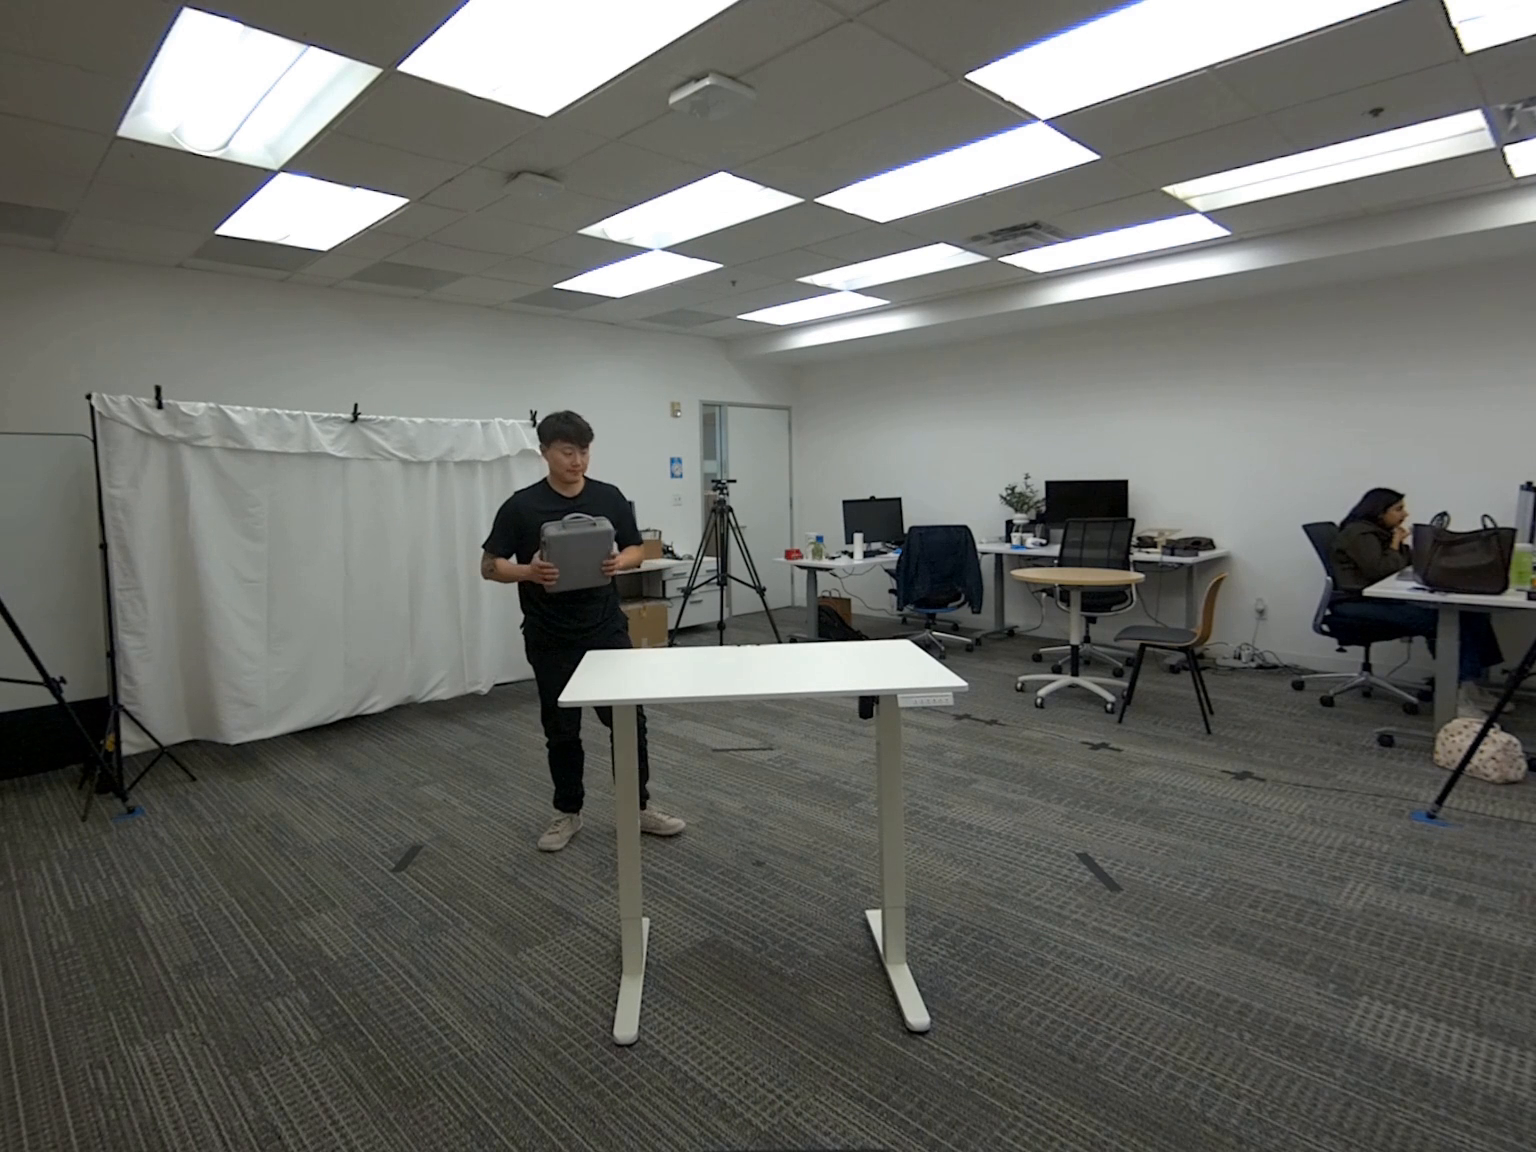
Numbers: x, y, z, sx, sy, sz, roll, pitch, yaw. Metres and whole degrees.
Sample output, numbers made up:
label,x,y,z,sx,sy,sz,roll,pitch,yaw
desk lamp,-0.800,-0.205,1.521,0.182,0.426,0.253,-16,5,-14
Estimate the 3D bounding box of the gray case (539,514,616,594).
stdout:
label,x,y,z,sx,sy,sz,roll,pitch,yaw
gray case,-0.688,-0.079,3.077,0.252,0.255,0.108,-9,32,-26
